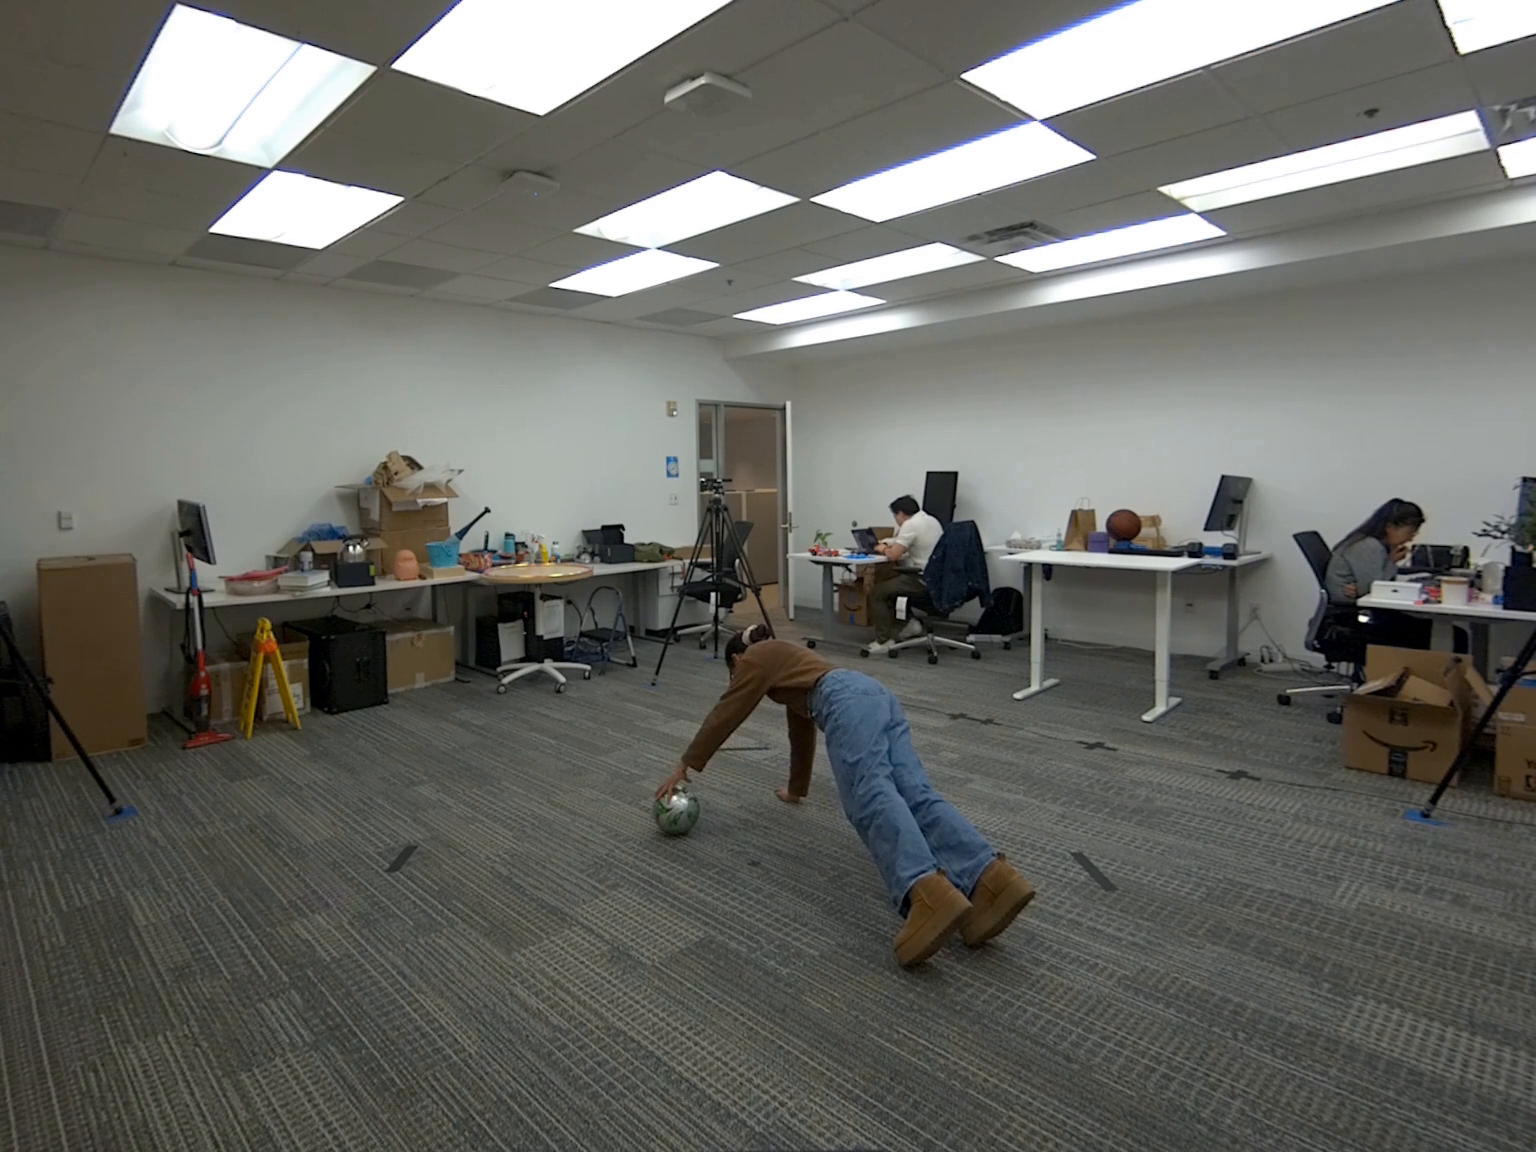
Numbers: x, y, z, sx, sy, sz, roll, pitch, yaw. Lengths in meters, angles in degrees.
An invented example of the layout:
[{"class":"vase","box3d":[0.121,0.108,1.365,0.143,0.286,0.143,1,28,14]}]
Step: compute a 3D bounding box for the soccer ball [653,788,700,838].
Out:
[{"class":"soccer ball","box3d":[-0.352,0.919,3.386,0.187,0.187,0.188,-1,5,-2]}]
